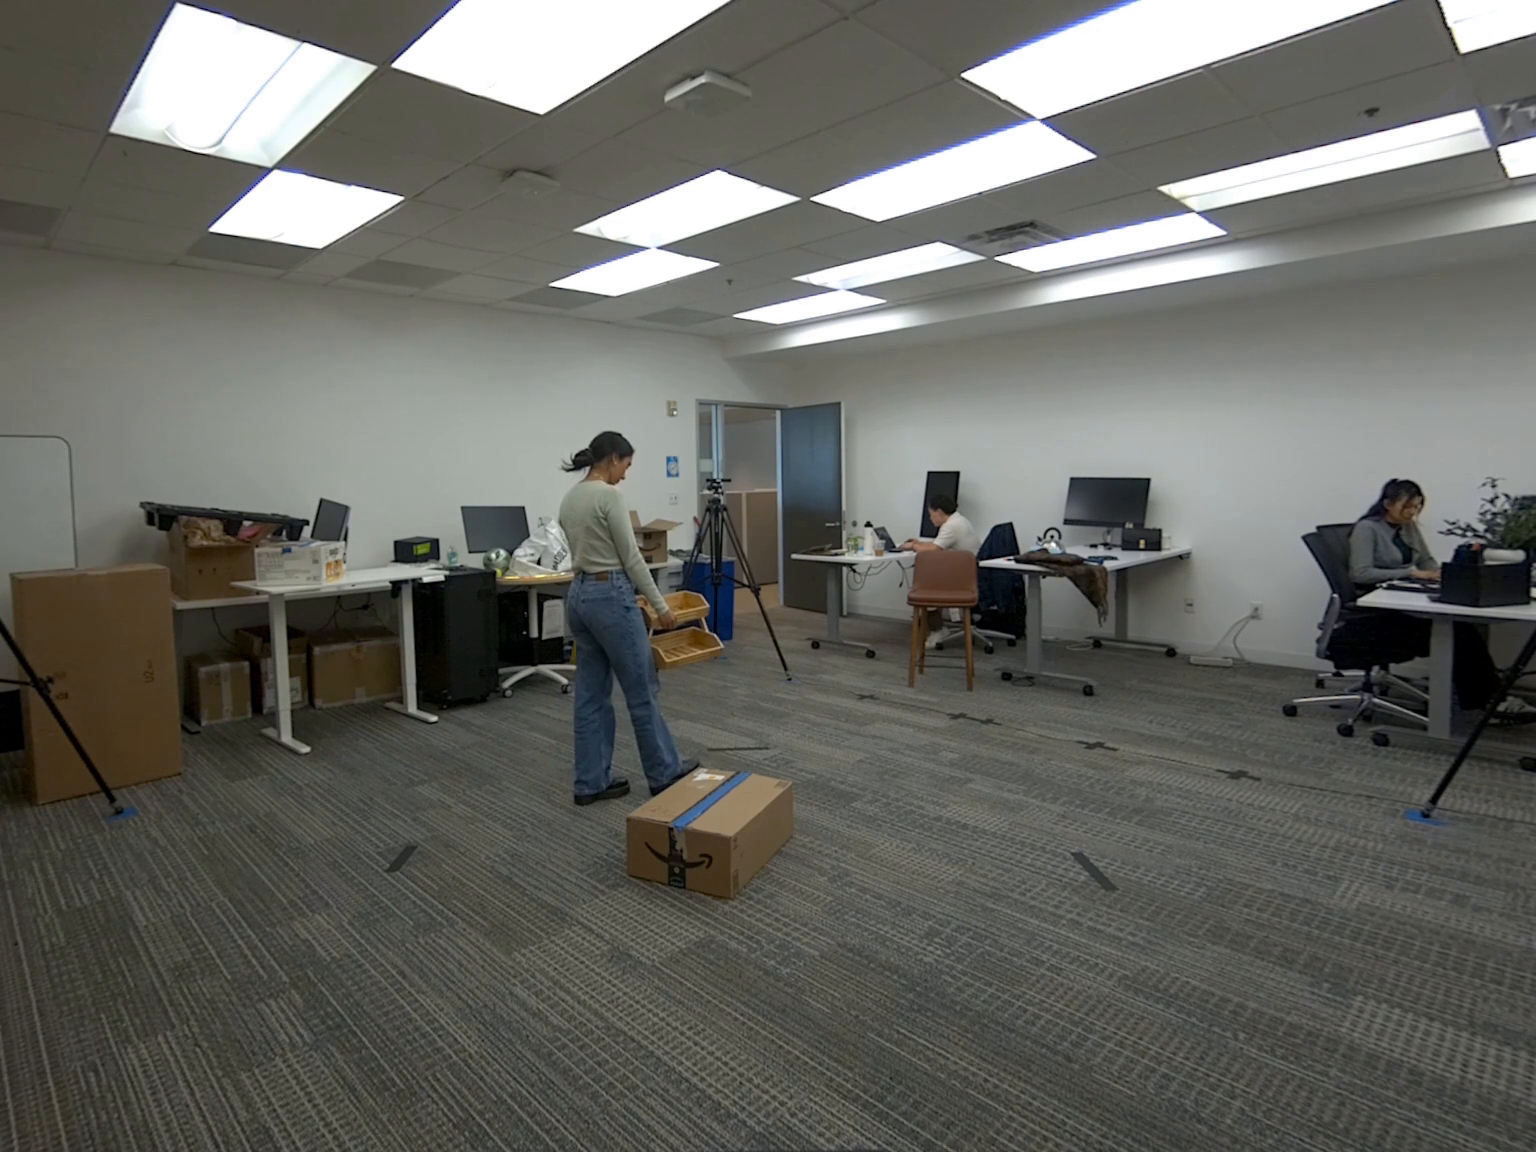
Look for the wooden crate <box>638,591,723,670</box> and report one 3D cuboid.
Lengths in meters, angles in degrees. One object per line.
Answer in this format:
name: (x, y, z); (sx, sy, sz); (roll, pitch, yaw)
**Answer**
wooden crate: (-0.413, 0.233, 3.841); (0.317, 0.271, 0.311); (-10, 11, -34)
